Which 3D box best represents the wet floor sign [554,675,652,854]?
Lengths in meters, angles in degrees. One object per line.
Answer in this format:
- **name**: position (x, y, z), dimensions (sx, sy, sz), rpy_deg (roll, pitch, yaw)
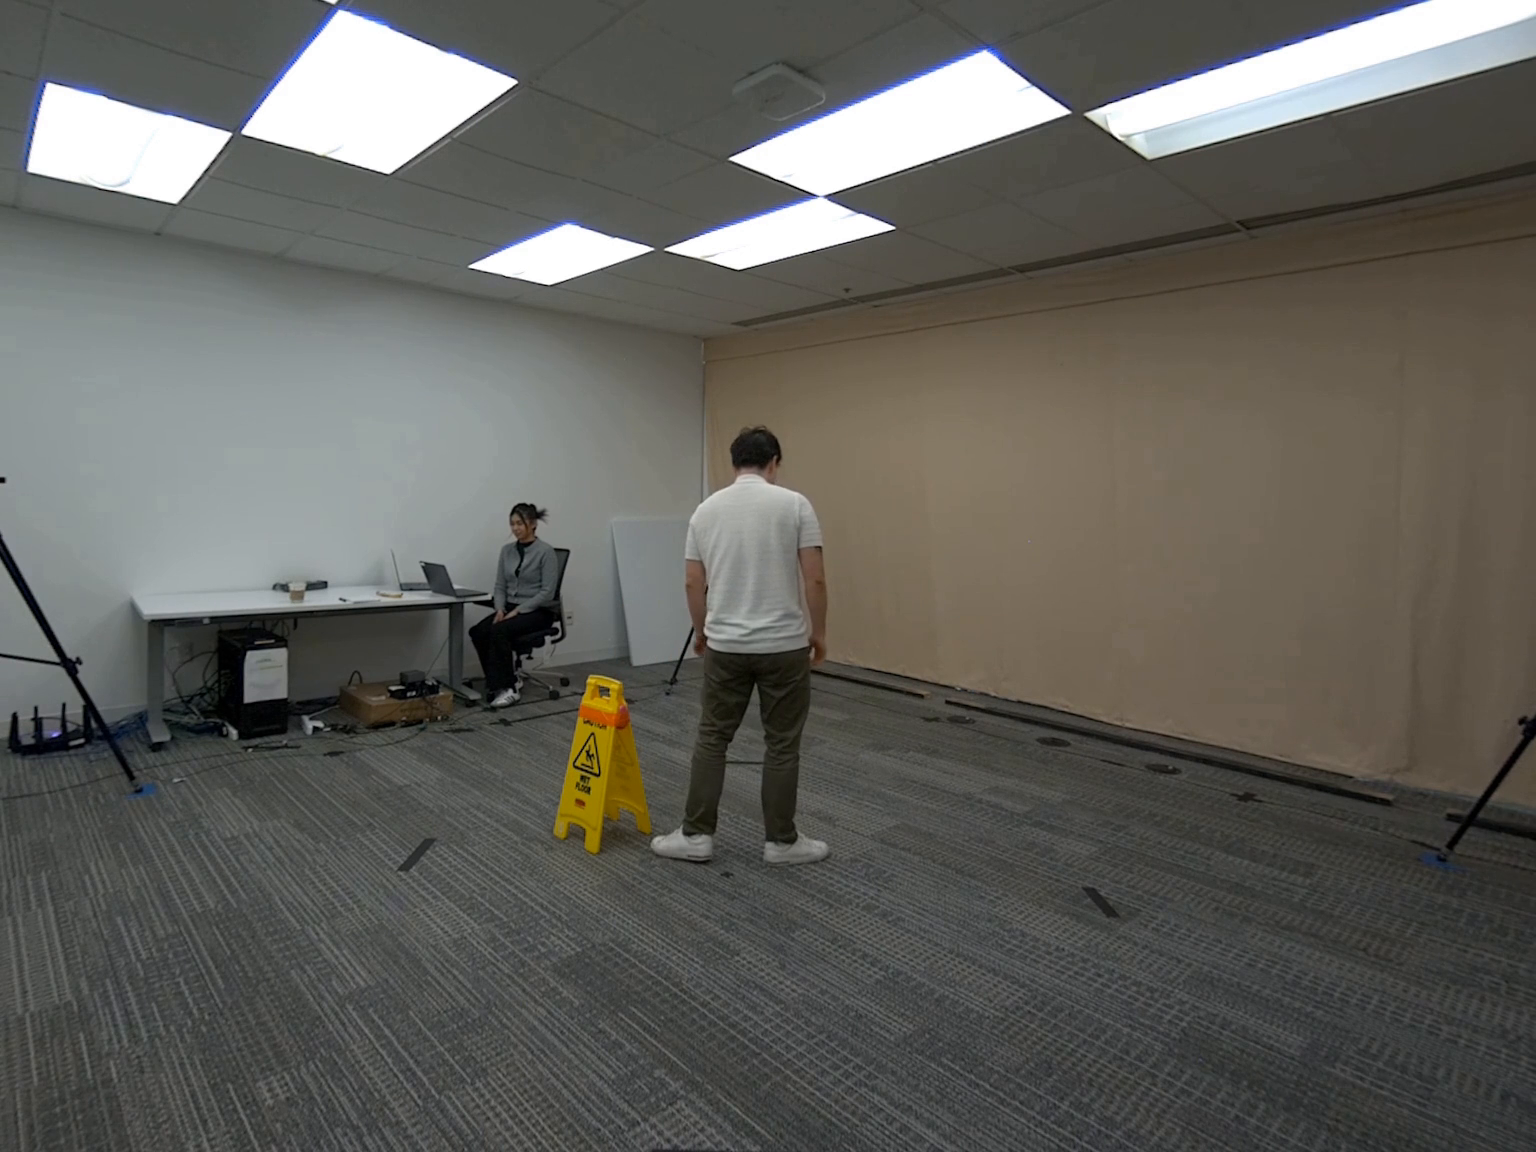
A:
- **wet floor sign**: position (-0.675, 0.737, 3.439), dimensions (0.289, 0.644, 0.283), rpy_deg (4, 4, 40)
